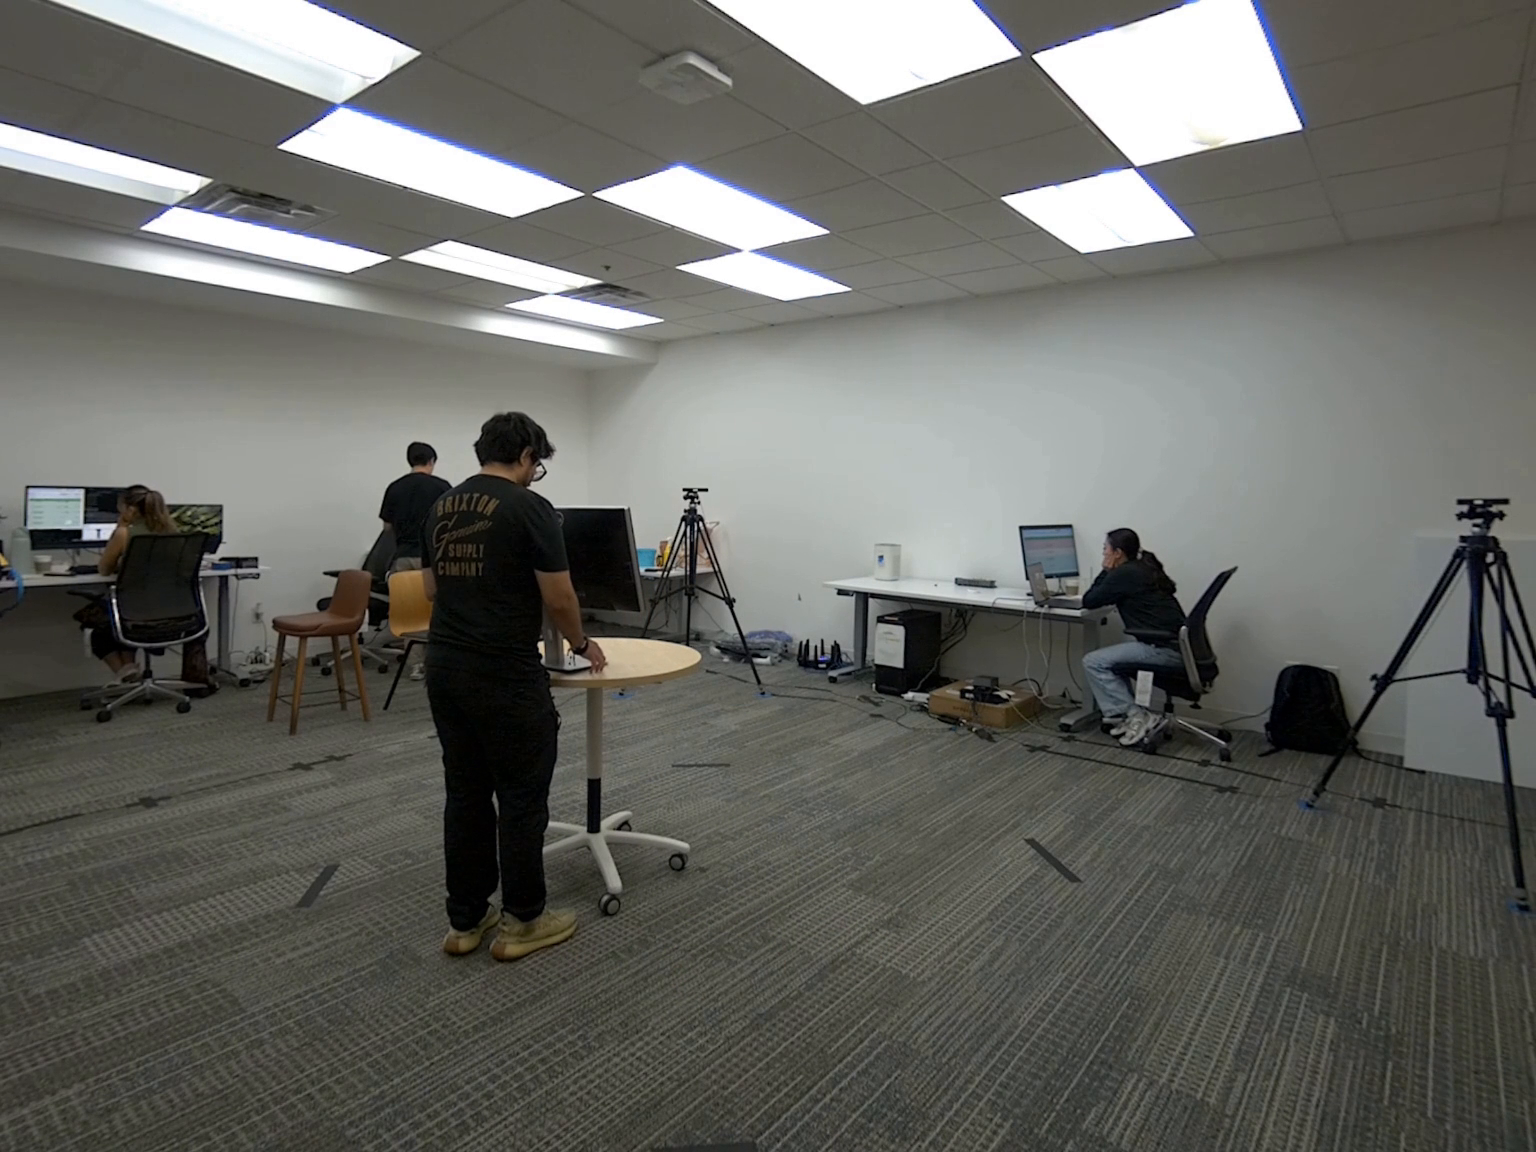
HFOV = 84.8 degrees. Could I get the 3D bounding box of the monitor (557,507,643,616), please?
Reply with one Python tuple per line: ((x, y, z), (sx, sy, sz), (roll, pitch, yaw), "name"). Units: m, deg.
((-0.718, 0.038, 2.870), (0.582, 0.549, 0.206), (3, 10, 30), "monitor")
